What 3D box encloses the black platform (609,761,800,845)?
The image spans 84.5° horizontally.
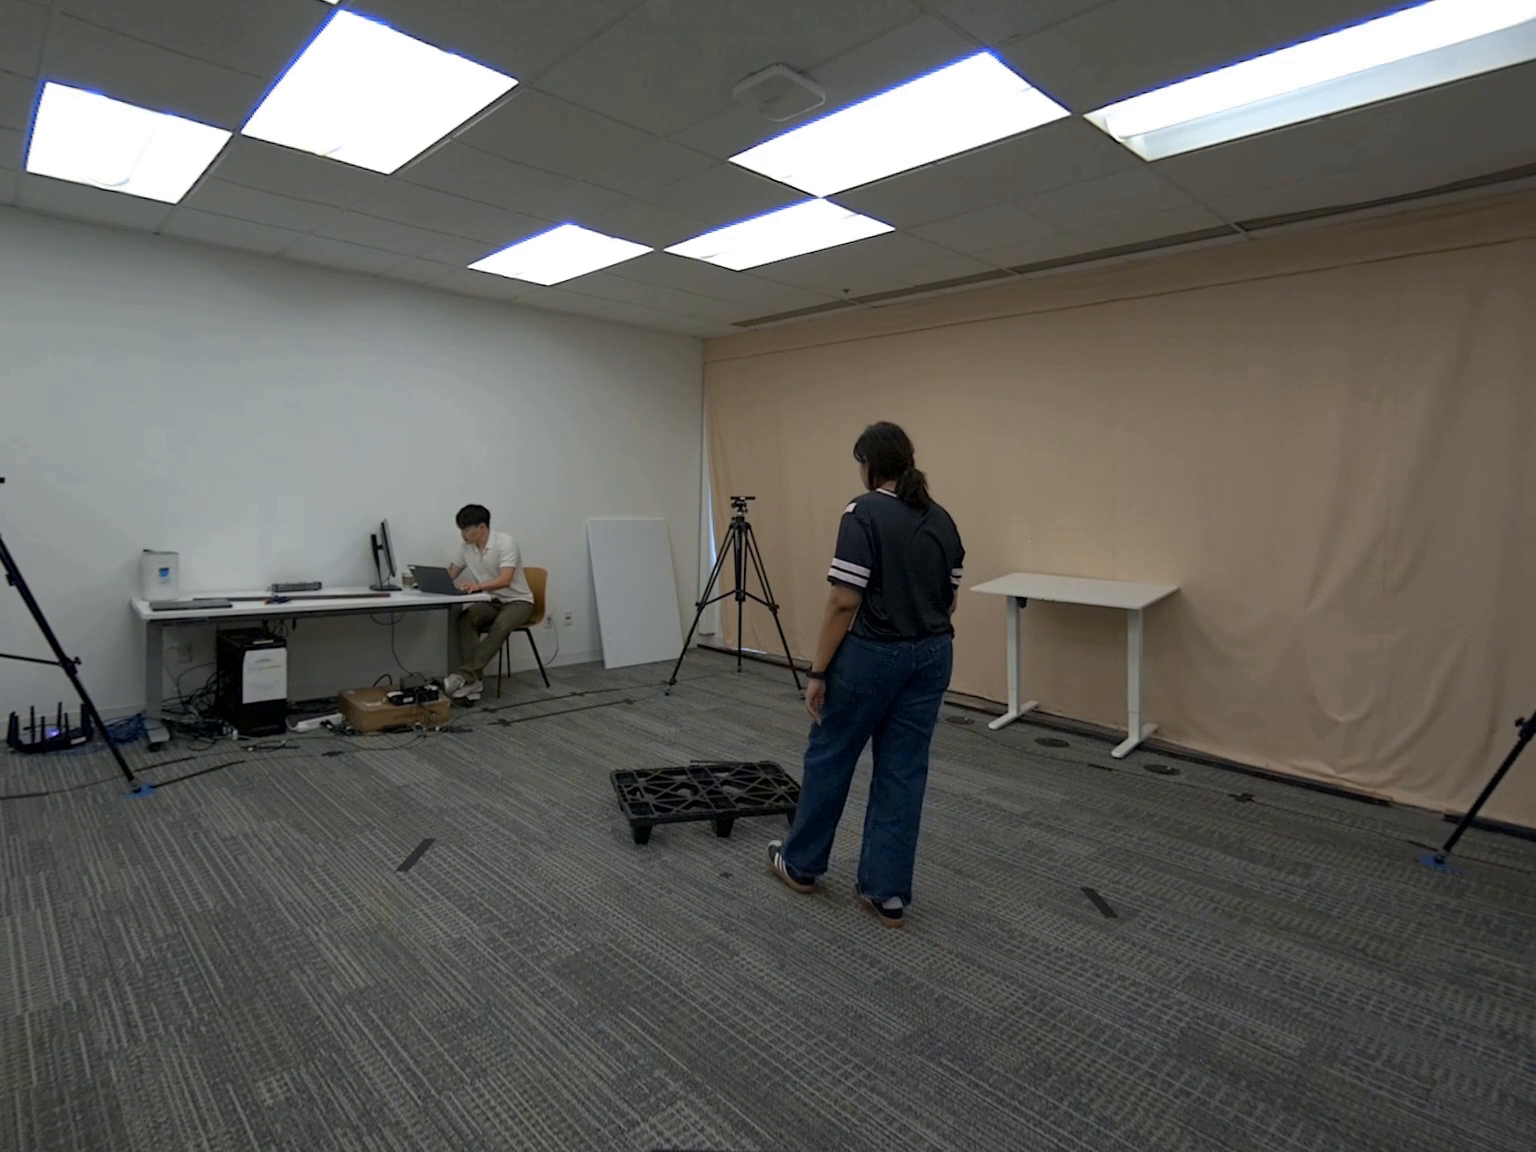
[{"bbox_3d":[-0.265,0.982,3.679,0.795,0.143,0.614,0,4,-17],"label":"black platform"}]
